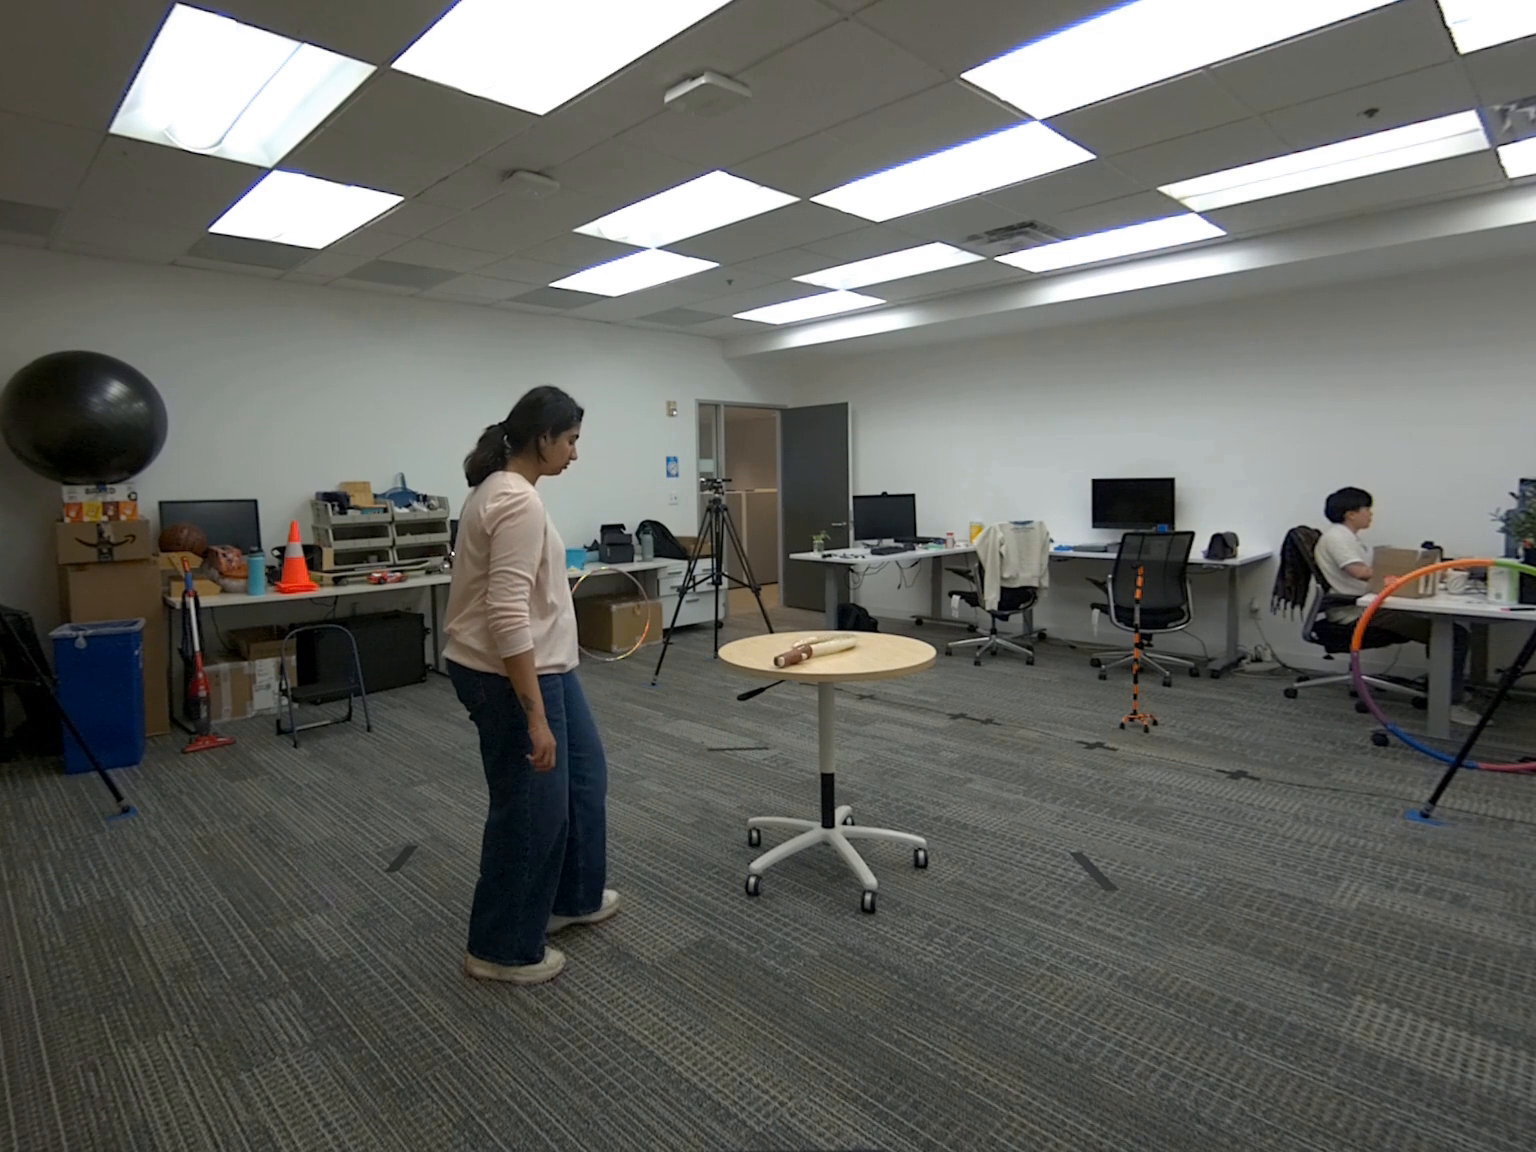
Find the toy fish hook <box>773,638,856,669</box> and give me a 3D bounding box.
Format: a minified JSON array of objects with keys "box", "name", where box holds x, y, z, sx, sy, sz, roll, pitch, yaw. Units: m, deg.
[{"box":[0.139,0.259,2.984,0.230,0.048,0.494,-7,1,36],"name":"toy fish hook"}]
